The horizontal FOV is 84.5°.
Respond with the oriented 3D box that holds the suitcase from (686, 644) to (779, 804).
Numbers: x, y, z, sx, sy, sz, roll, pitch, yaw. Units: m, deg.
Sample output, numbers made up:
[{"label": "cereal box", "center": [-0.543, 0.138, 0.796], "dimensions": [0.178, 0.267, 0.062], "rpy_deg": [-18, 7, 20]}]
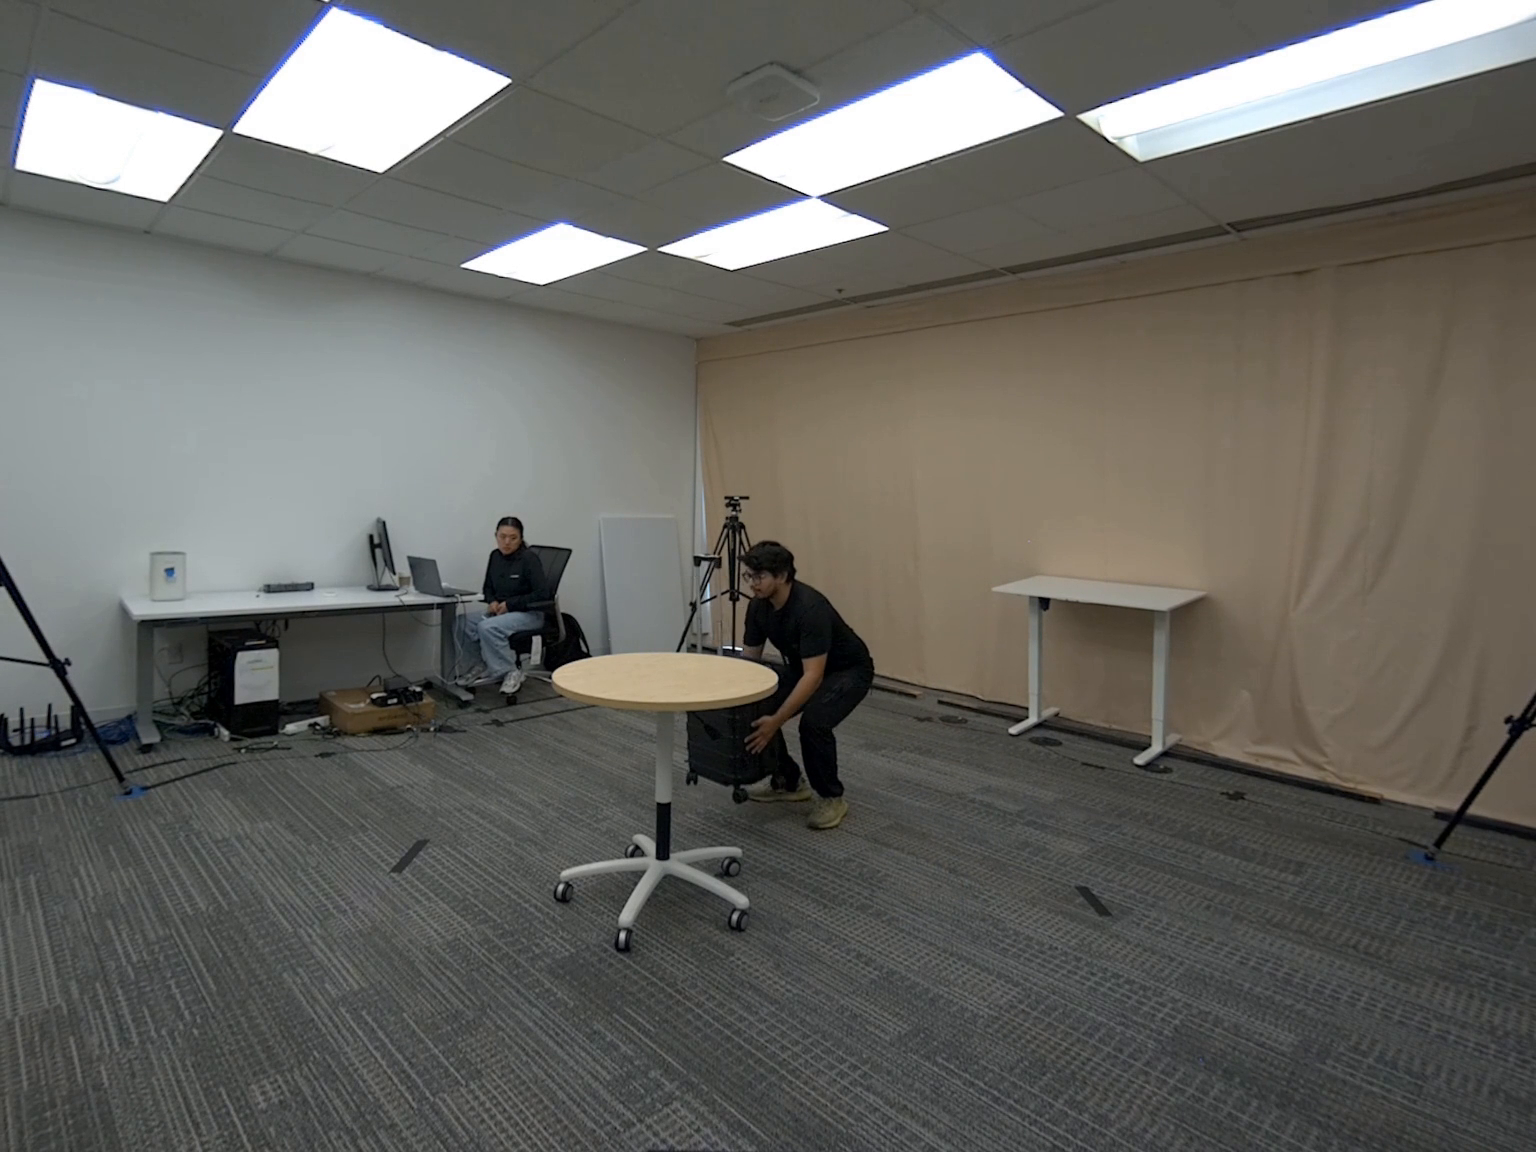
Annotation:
[{"label": "suitcase", "center": [-0.171, 0.397, 3.523], "dimensions": [0.251, 0.977, 0.393], "rpy_deg": [-3, 3, -42]}]
